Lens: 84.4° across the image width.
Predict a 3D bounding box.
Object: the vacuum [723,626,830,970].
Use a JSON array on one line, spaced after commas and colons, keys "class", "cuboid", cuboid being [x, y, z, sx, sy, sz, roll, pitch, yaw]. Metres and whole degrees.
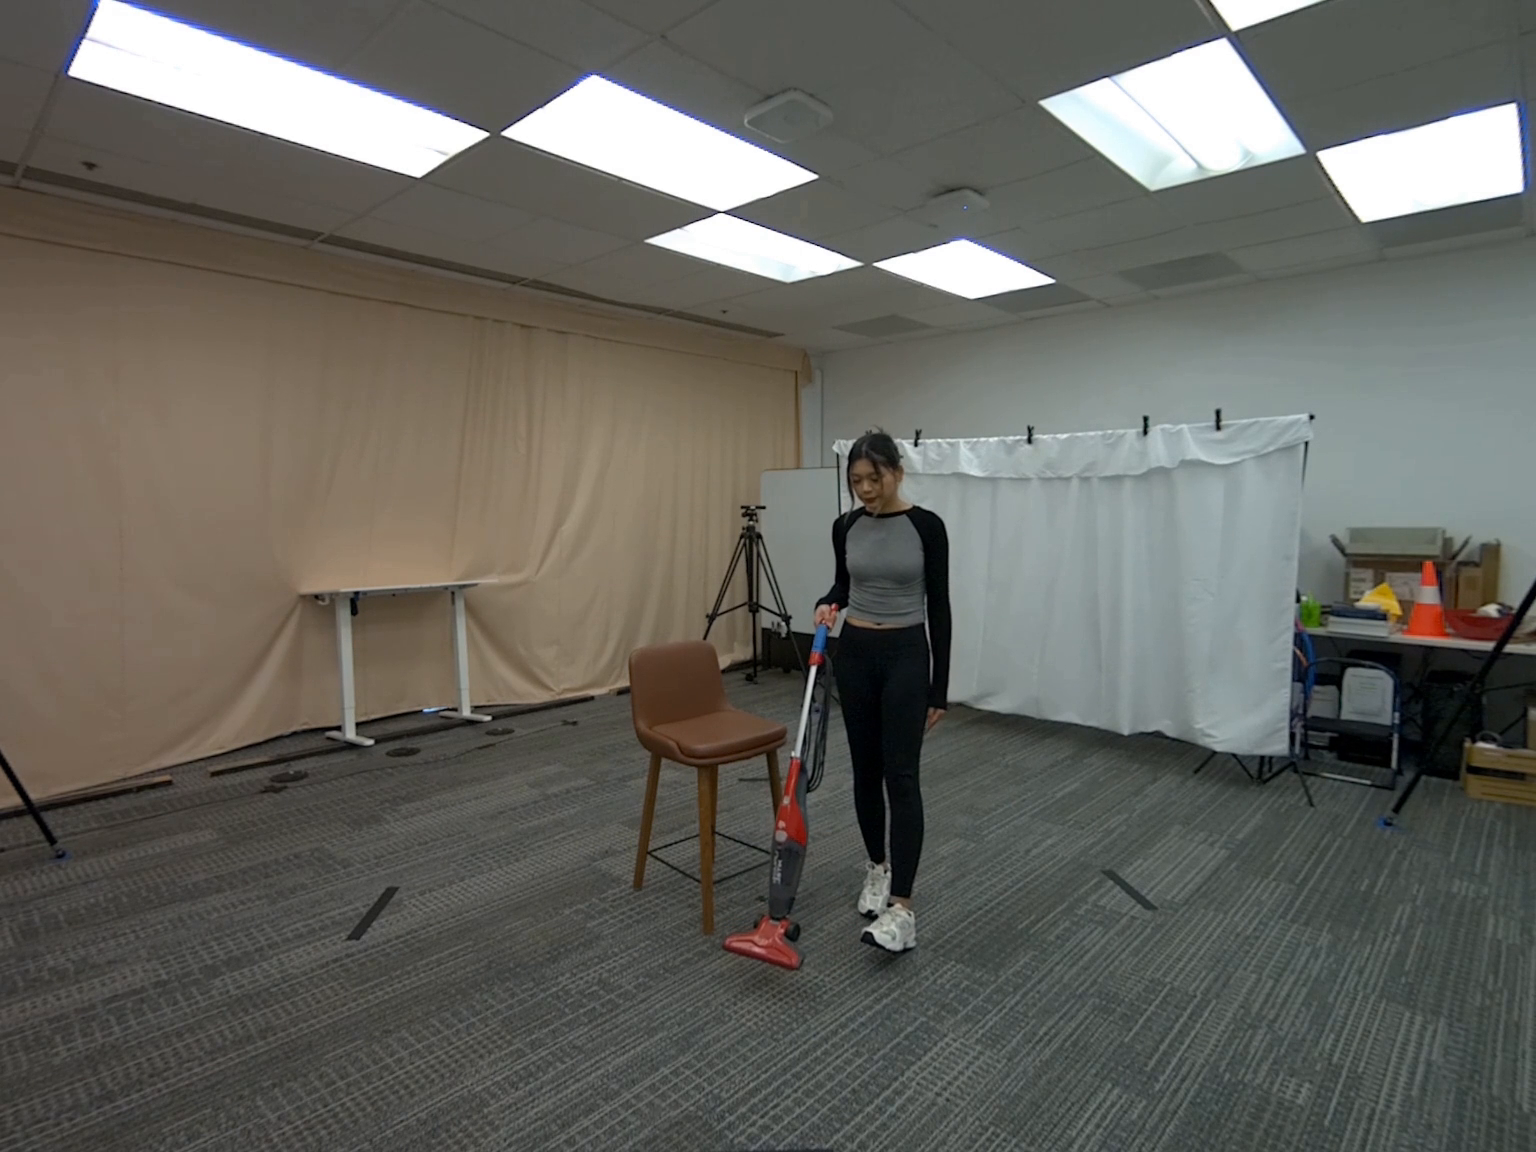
[{"class": "vacuum", "cuboid": [0.115, 0.601, 2.609, 0.259, 1.056, 0.139, 2, -23, 27]}]
